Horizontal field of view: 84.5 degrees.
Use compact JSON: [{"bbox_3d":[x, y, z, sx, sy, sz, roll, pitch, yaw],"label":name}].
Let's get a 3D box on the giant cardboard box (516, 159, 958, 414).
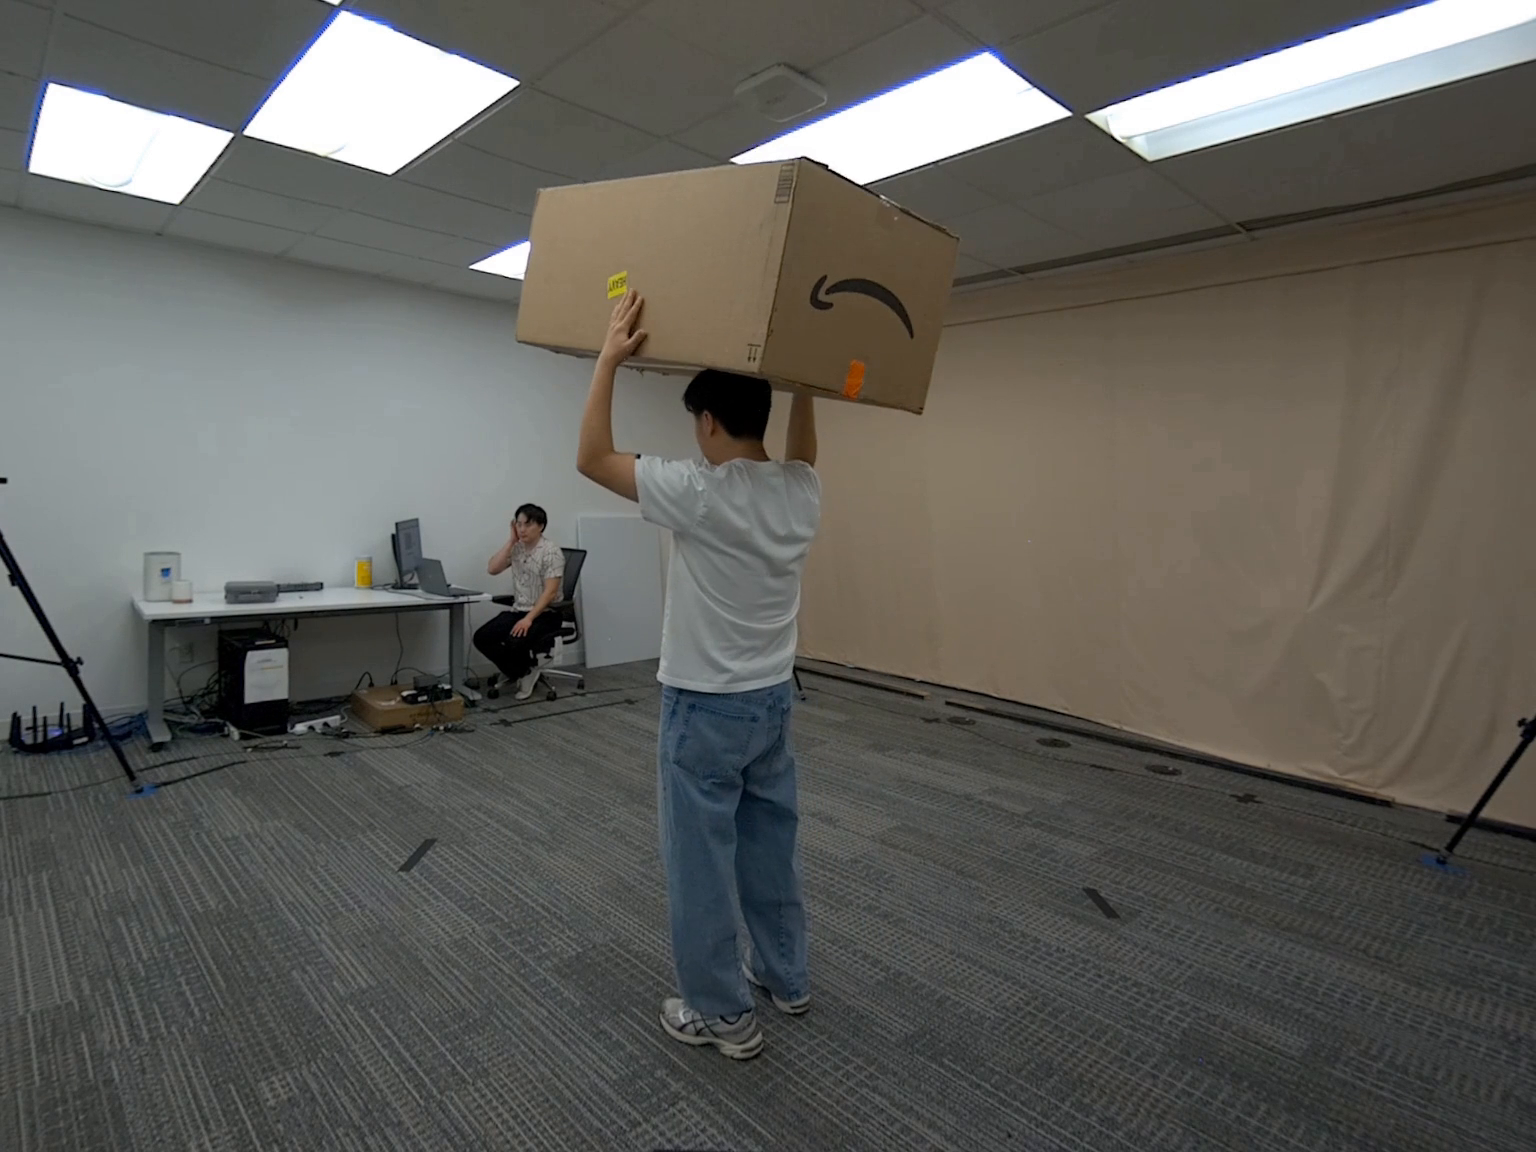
[{"bbox_3d":[-0.137,-0.730,2.206,0.563,0.424,1.056,3,12,-44],"label":"giant cardboard box"}]
